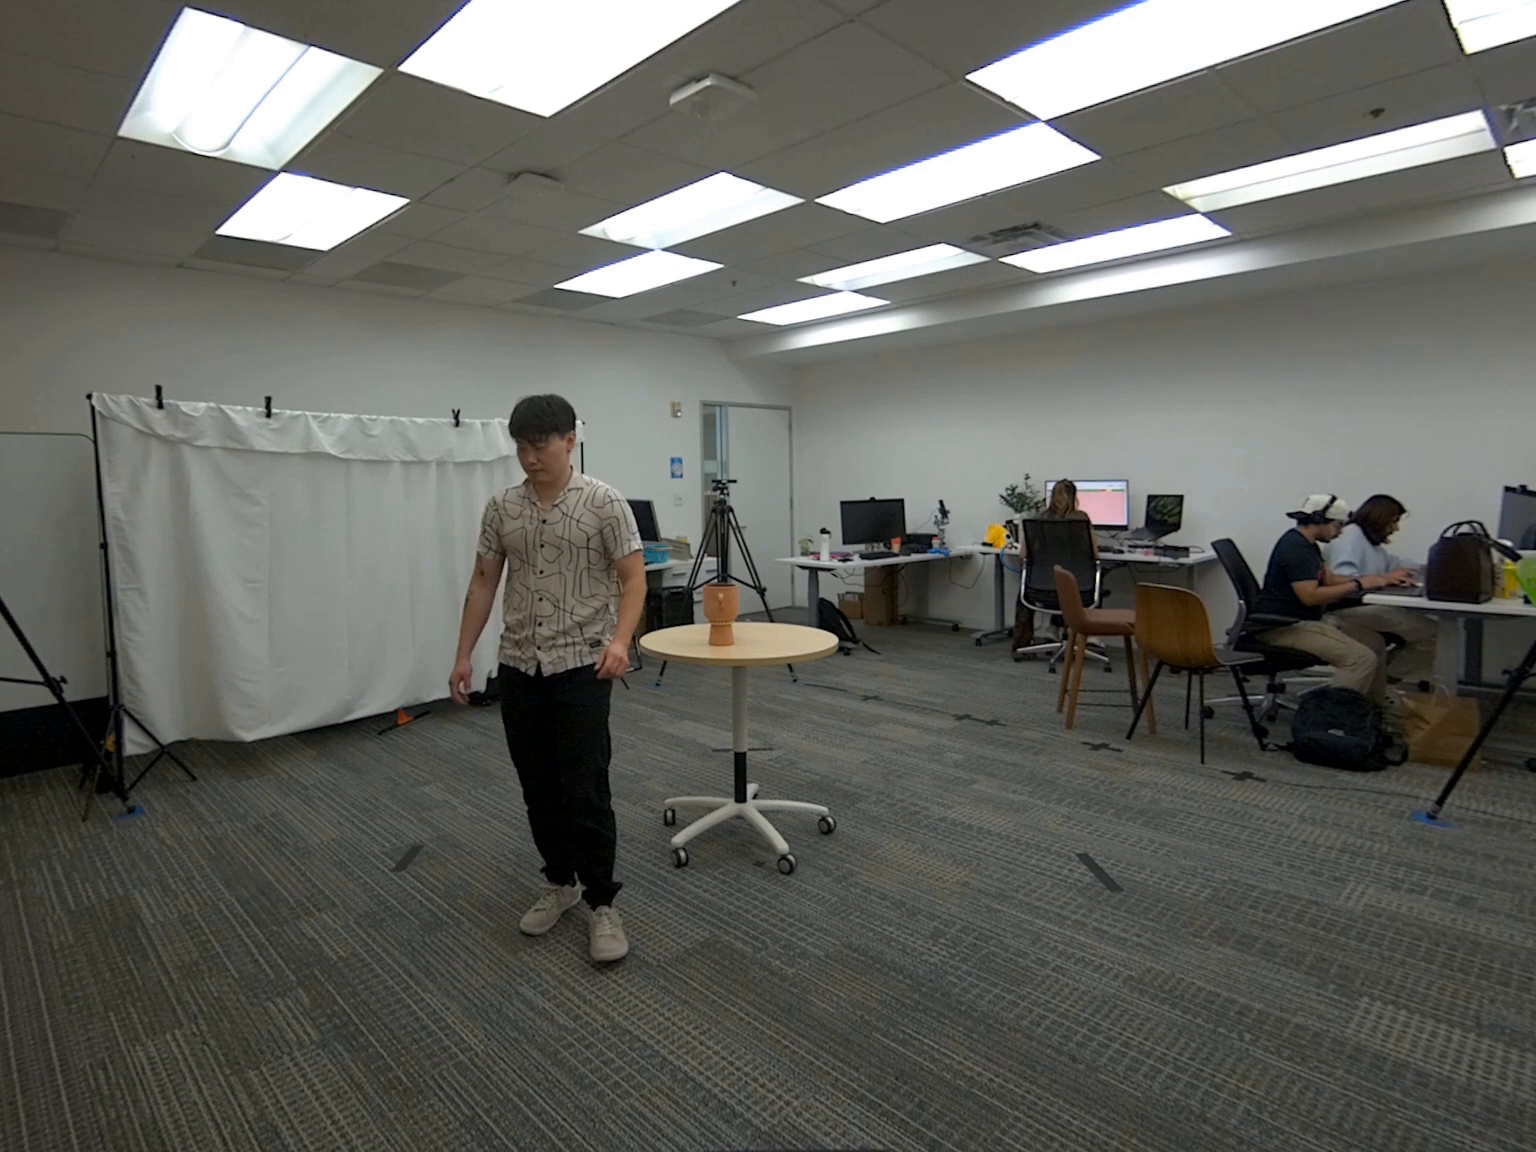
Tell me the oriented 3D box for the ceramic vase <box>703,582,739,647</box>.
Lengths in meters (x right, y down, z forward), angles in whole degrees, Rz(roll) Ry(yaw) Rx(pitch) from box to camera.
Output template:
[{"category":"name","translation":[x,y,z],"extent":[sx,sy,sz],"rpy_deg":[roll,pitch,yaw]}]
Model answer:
[{"category":"ceramic vase","translation":[-0.173,0.145,3.202],"extent":[0.138,0.219,0.155],"rpy_deg":[1,4,37]}]
